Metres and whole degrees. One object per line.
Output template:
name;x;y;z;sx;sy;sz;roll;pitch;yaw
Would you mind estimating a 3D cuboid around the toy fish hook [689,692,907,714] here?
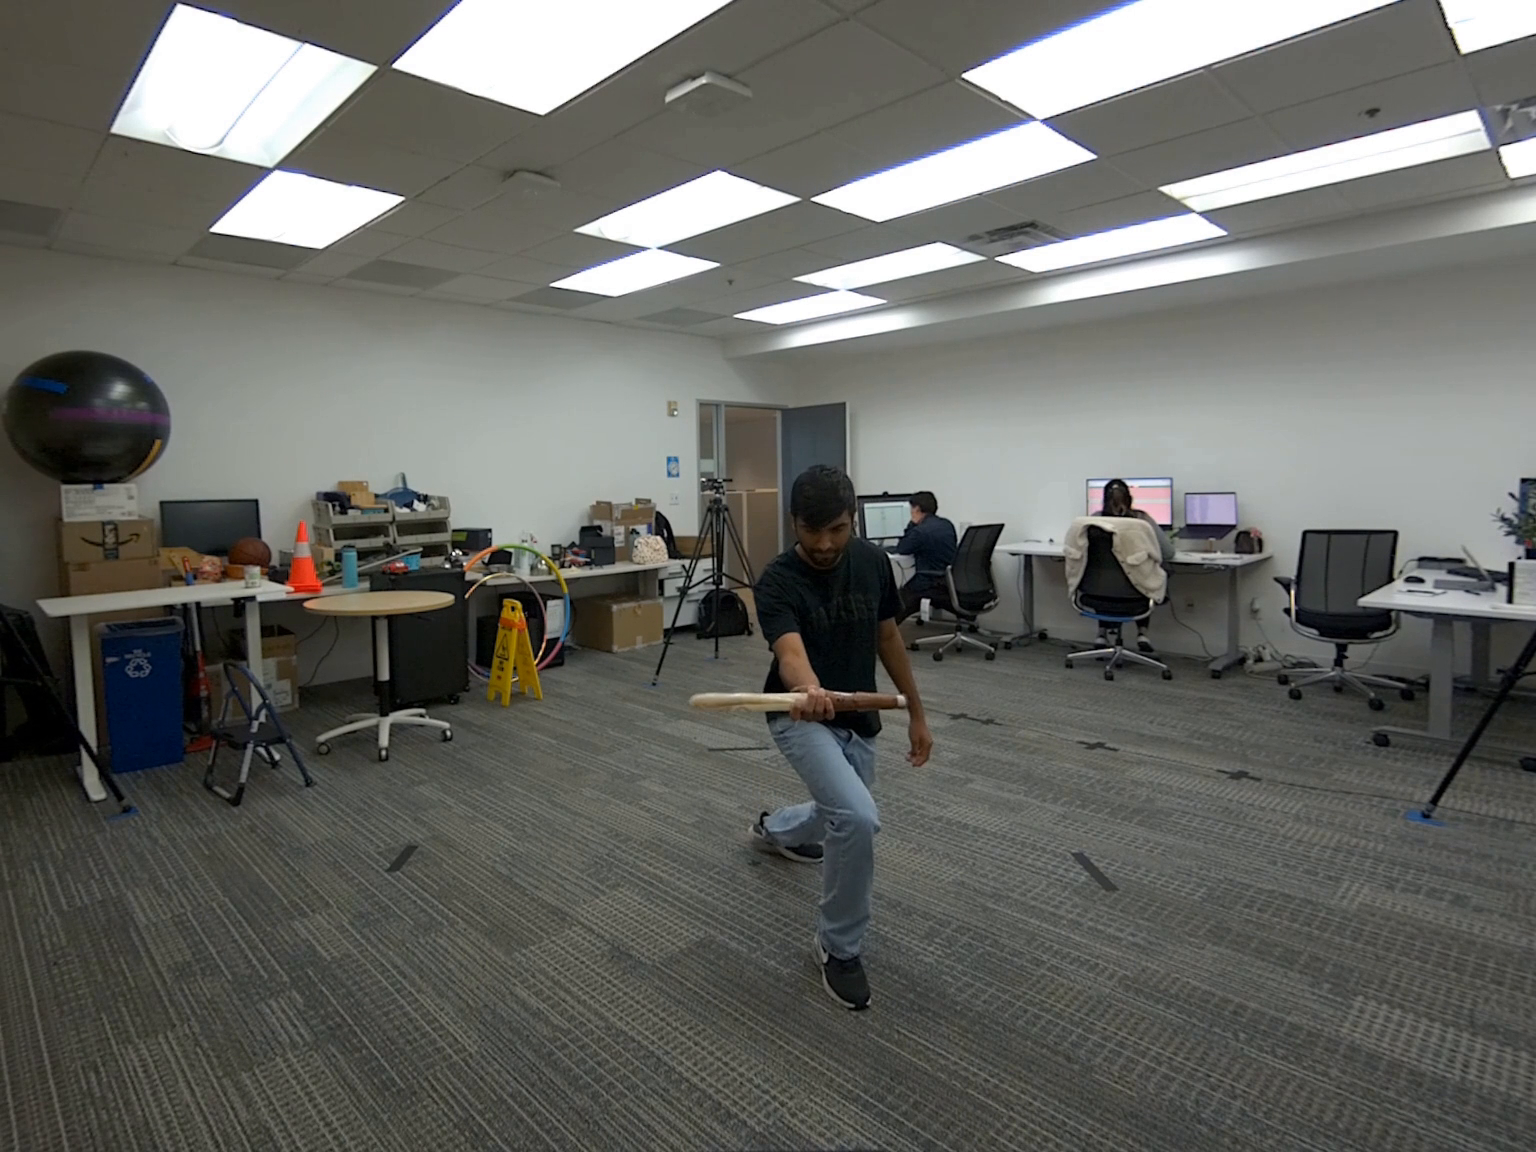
toy fish hook;0.086;0.273;1.824;0.500;0.049;0.225;1;-9;-13
